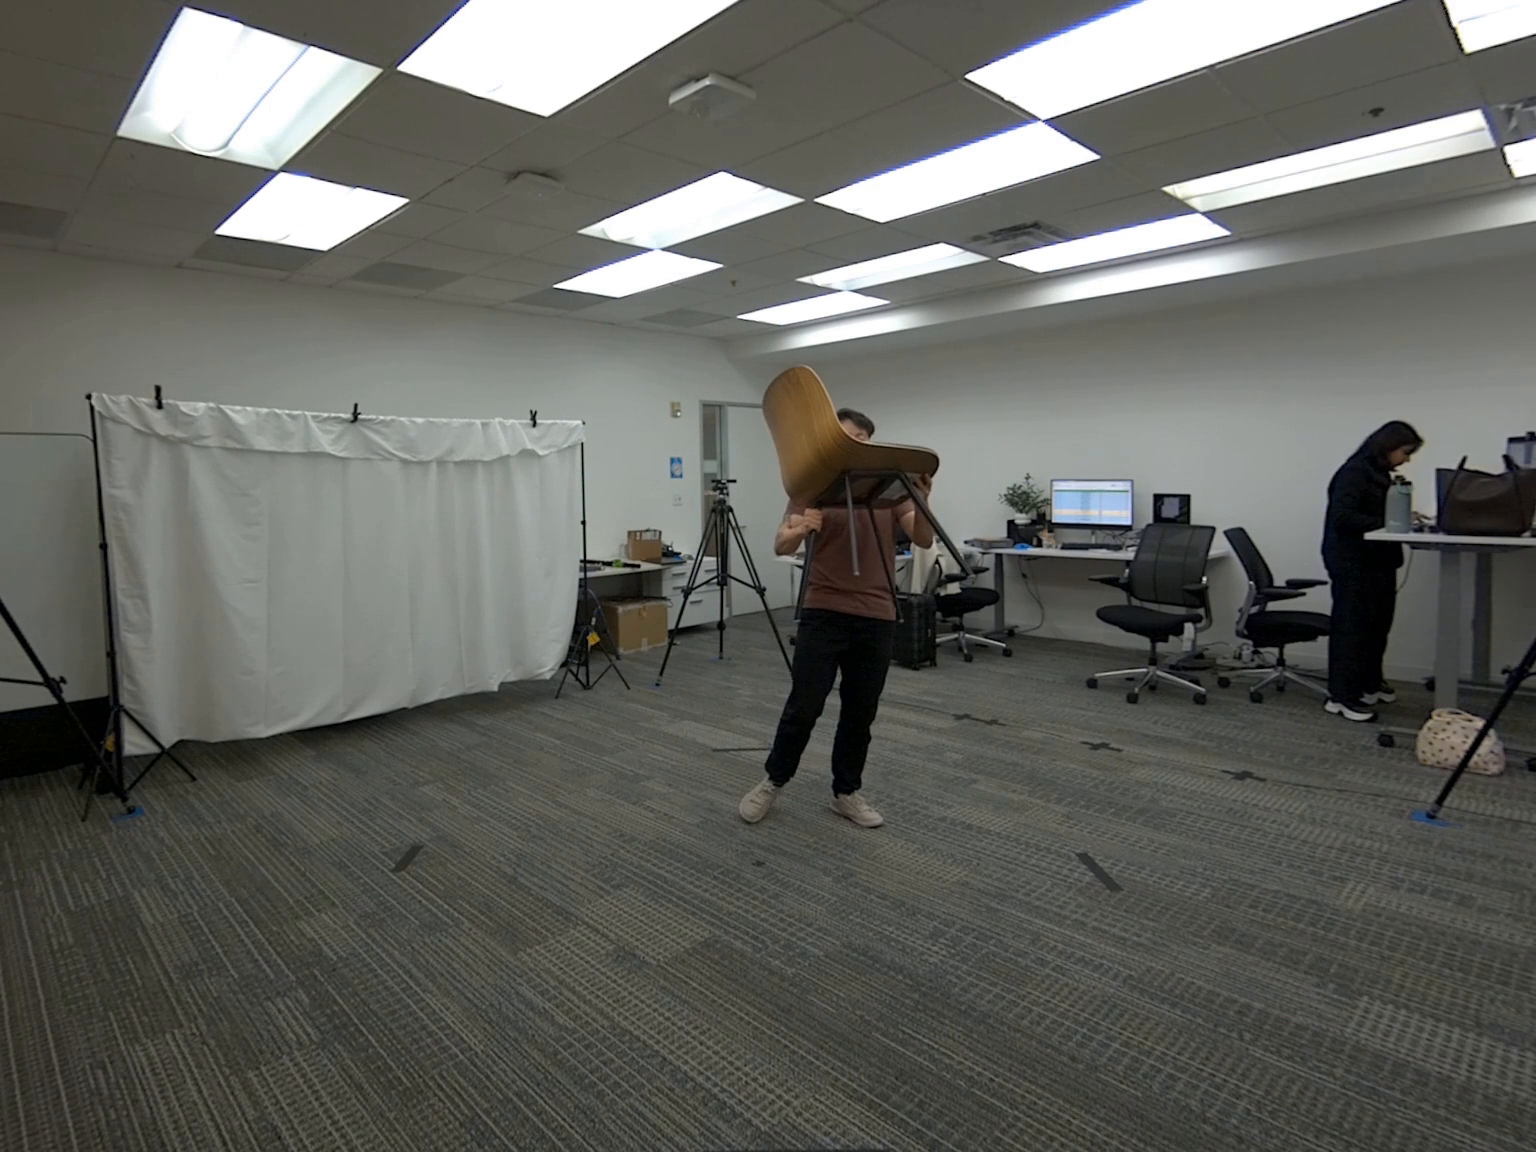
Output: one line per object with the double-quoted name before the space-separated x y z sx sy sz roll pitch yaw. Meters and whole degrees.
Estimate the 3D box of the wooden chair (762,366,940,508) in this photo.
"wooden chair" 0.326 -0.307 3.090 0.512 0.898 0.477 -2 -24 -25
